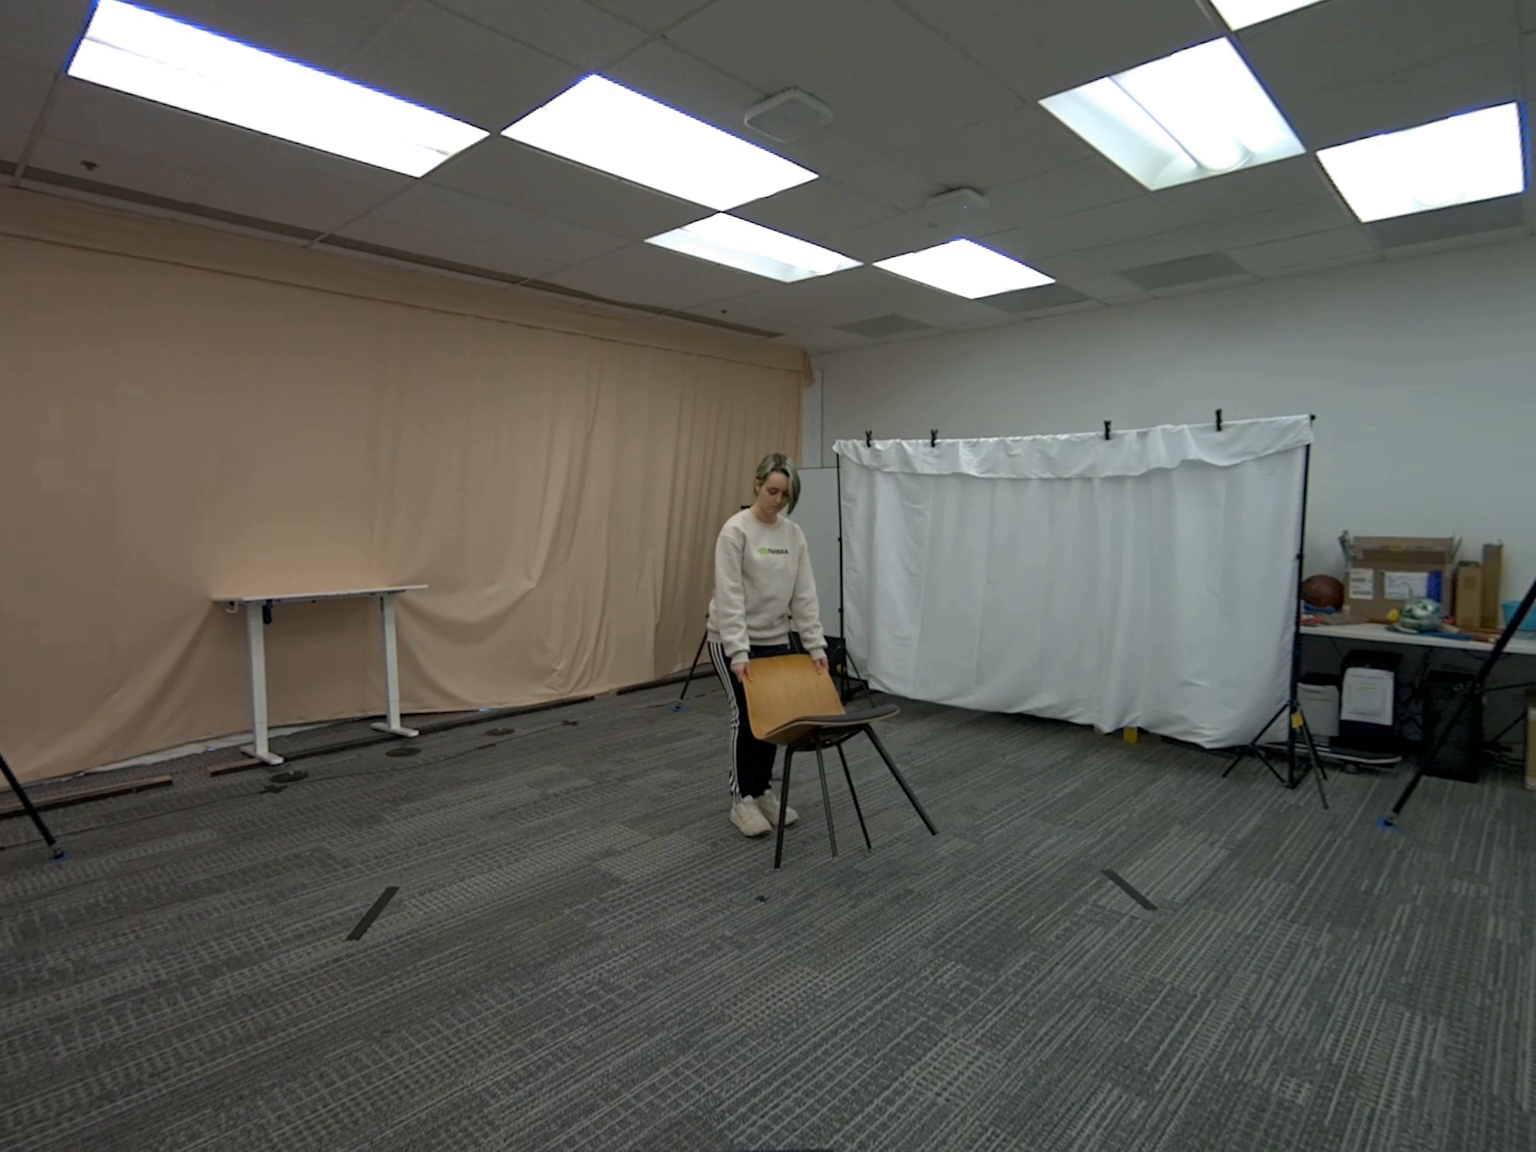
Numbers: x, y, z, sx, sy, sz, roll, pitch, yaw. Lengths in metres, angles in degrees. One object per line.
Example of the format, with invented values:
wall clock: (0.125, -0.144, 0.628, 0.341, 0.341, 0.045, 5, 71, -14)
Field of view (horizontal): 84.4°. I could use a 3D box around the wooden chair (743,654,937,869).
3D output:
wooden chair: (0.234, 0.630, 3.265, 0.466, 0.894, 0.526, -2, -27, -28)
